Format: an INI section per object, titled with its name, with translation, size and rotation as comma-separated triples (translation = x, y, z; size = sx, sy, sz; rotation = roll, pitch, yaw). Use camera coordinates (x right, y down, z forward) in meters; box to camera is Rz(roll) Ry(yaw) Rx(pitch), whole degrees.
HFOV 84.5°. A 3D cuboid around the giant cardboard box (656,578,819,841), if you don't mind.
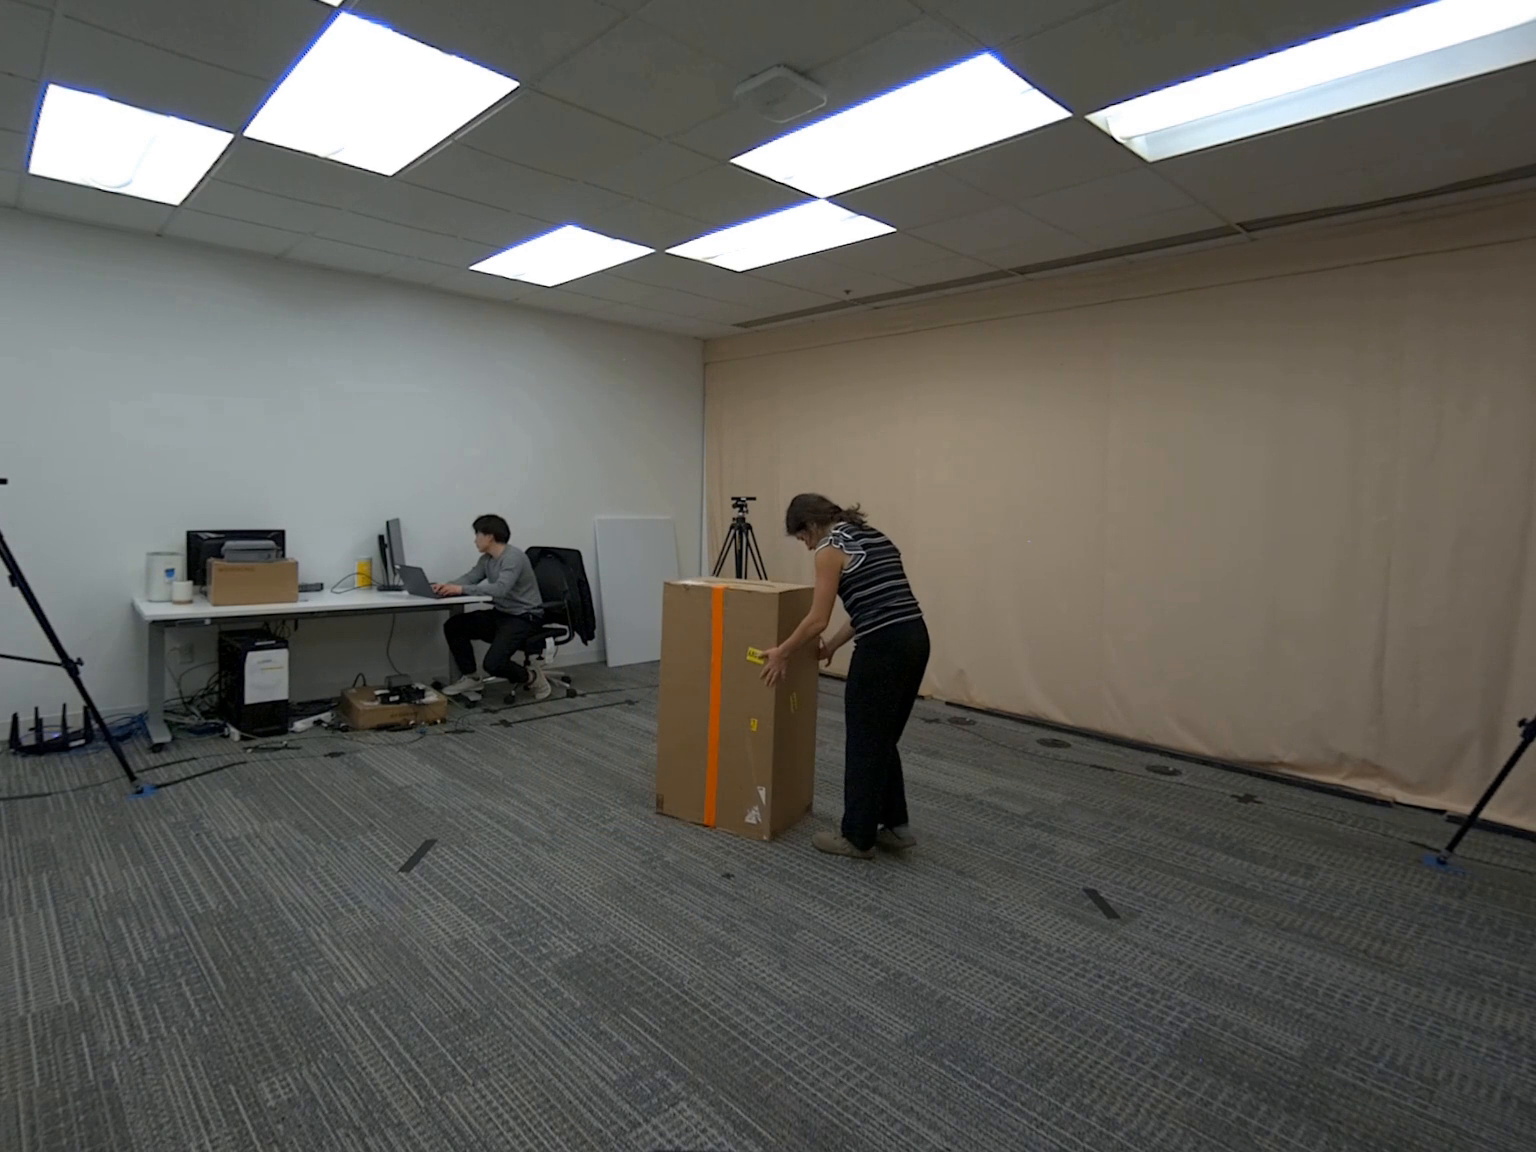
[giant cardboard box]
translation = -0.135, 0.544, 3.724
size = 0.590, 1.024, 0.418
rotation = 4, 3, 29
